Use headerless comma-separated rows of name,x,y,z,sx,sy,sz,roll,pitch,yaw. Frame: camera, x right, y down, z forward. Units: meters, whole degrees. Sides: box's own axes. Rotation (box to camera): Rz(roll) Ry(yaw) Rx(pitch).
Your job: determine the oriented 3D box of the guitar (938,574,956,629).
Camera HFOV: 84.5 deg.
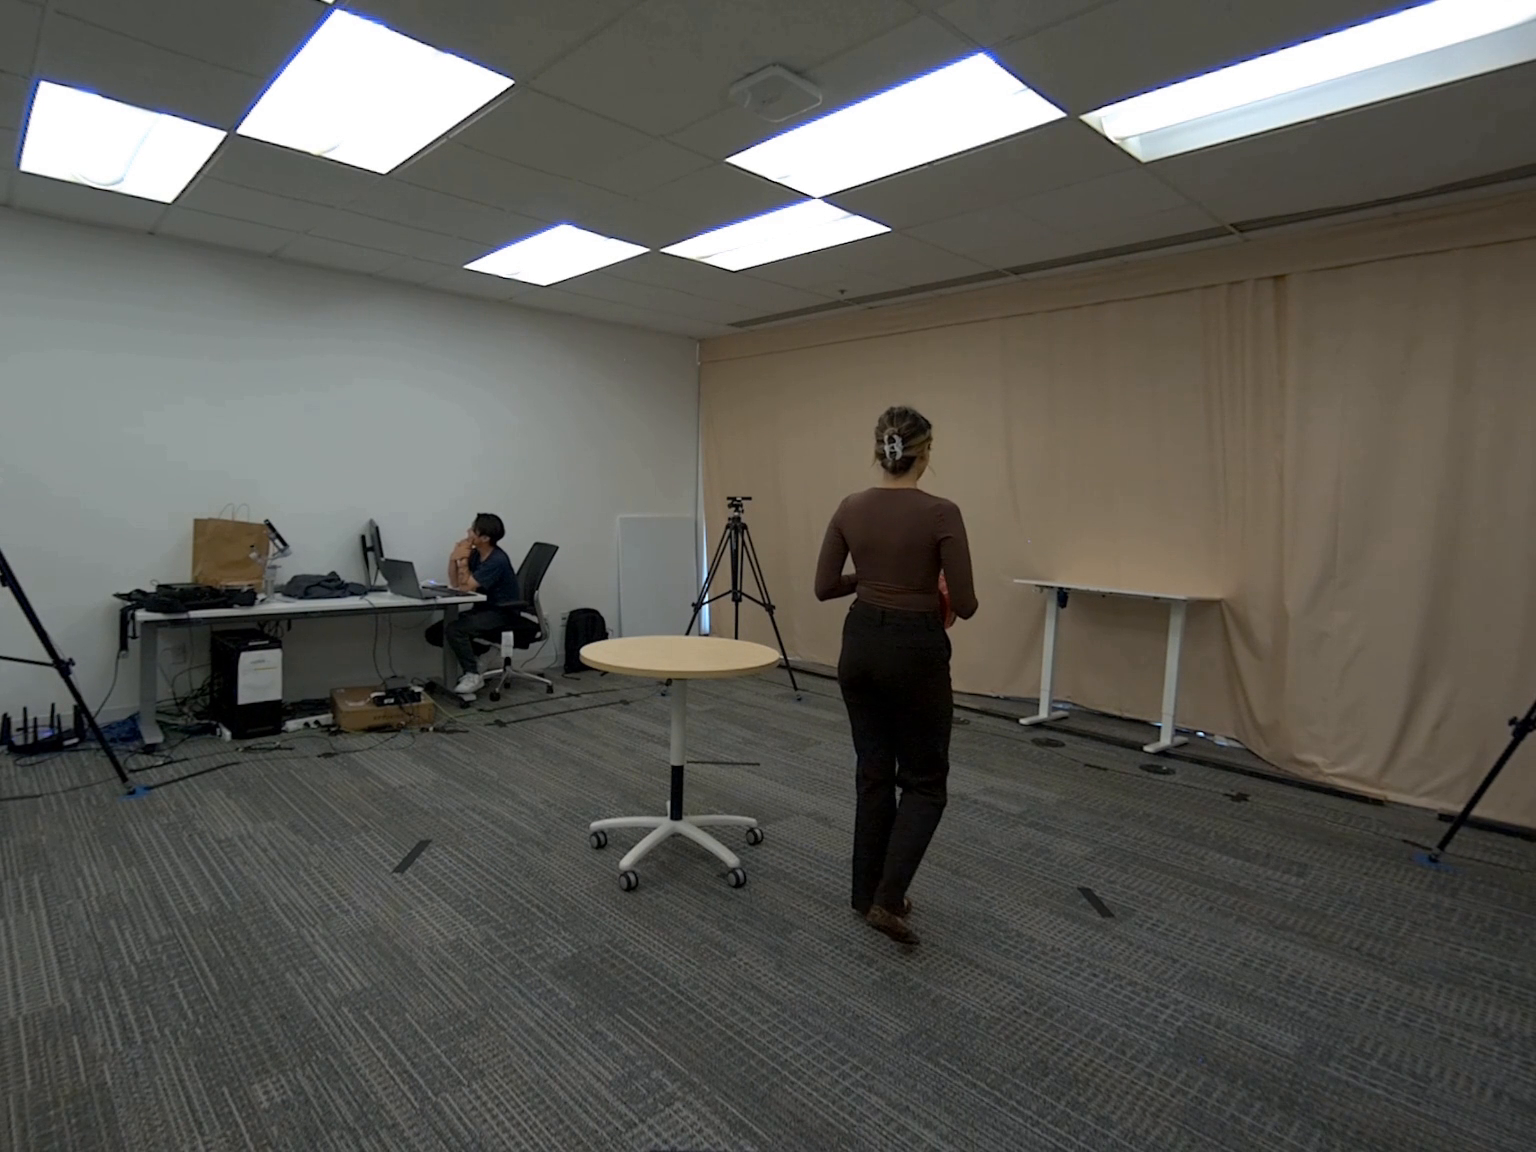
guitar,0.471,0.014,2.954,0.070,0.188,0.514,-23,39,-20
